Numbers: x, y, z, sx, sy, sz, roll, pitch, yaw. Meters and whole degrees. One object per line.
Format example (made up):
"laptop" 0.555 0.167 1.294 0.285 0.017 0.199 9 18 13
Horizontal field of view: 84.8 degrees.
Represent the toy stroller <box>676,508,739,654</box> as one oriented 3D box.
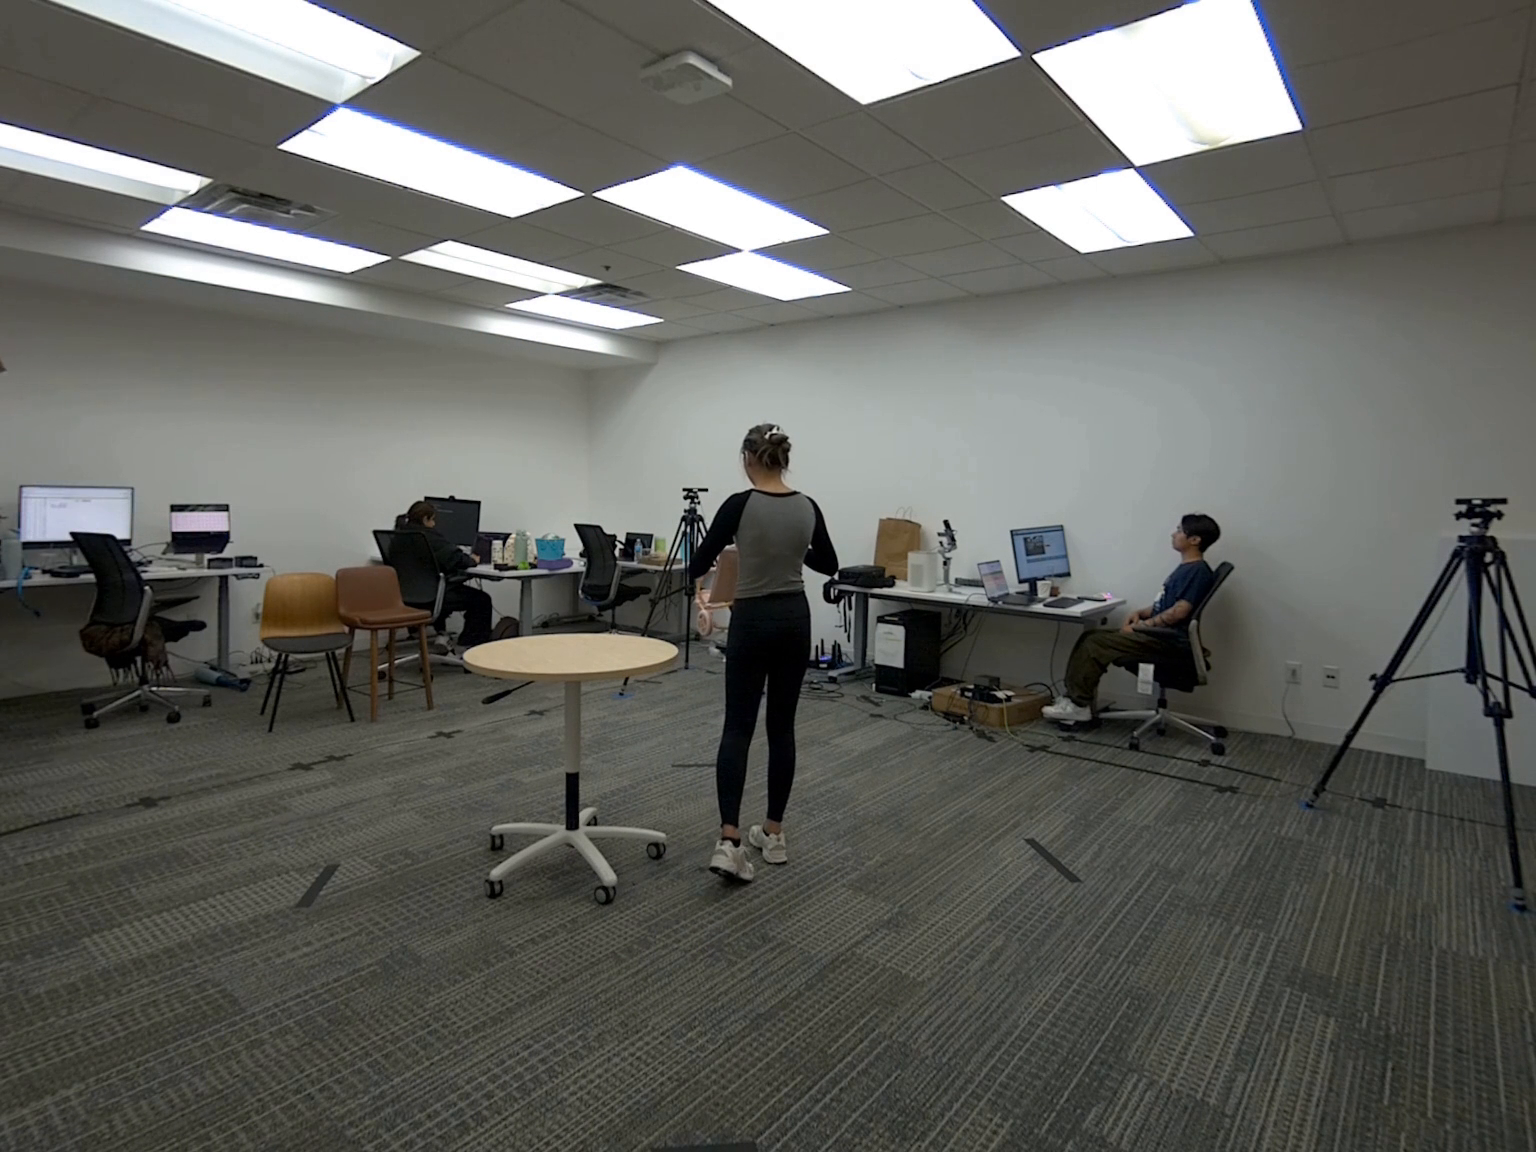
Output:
"toy stroller" -0.184 0.011 3.641 0.275 0.528 0.354 1 18 -24
